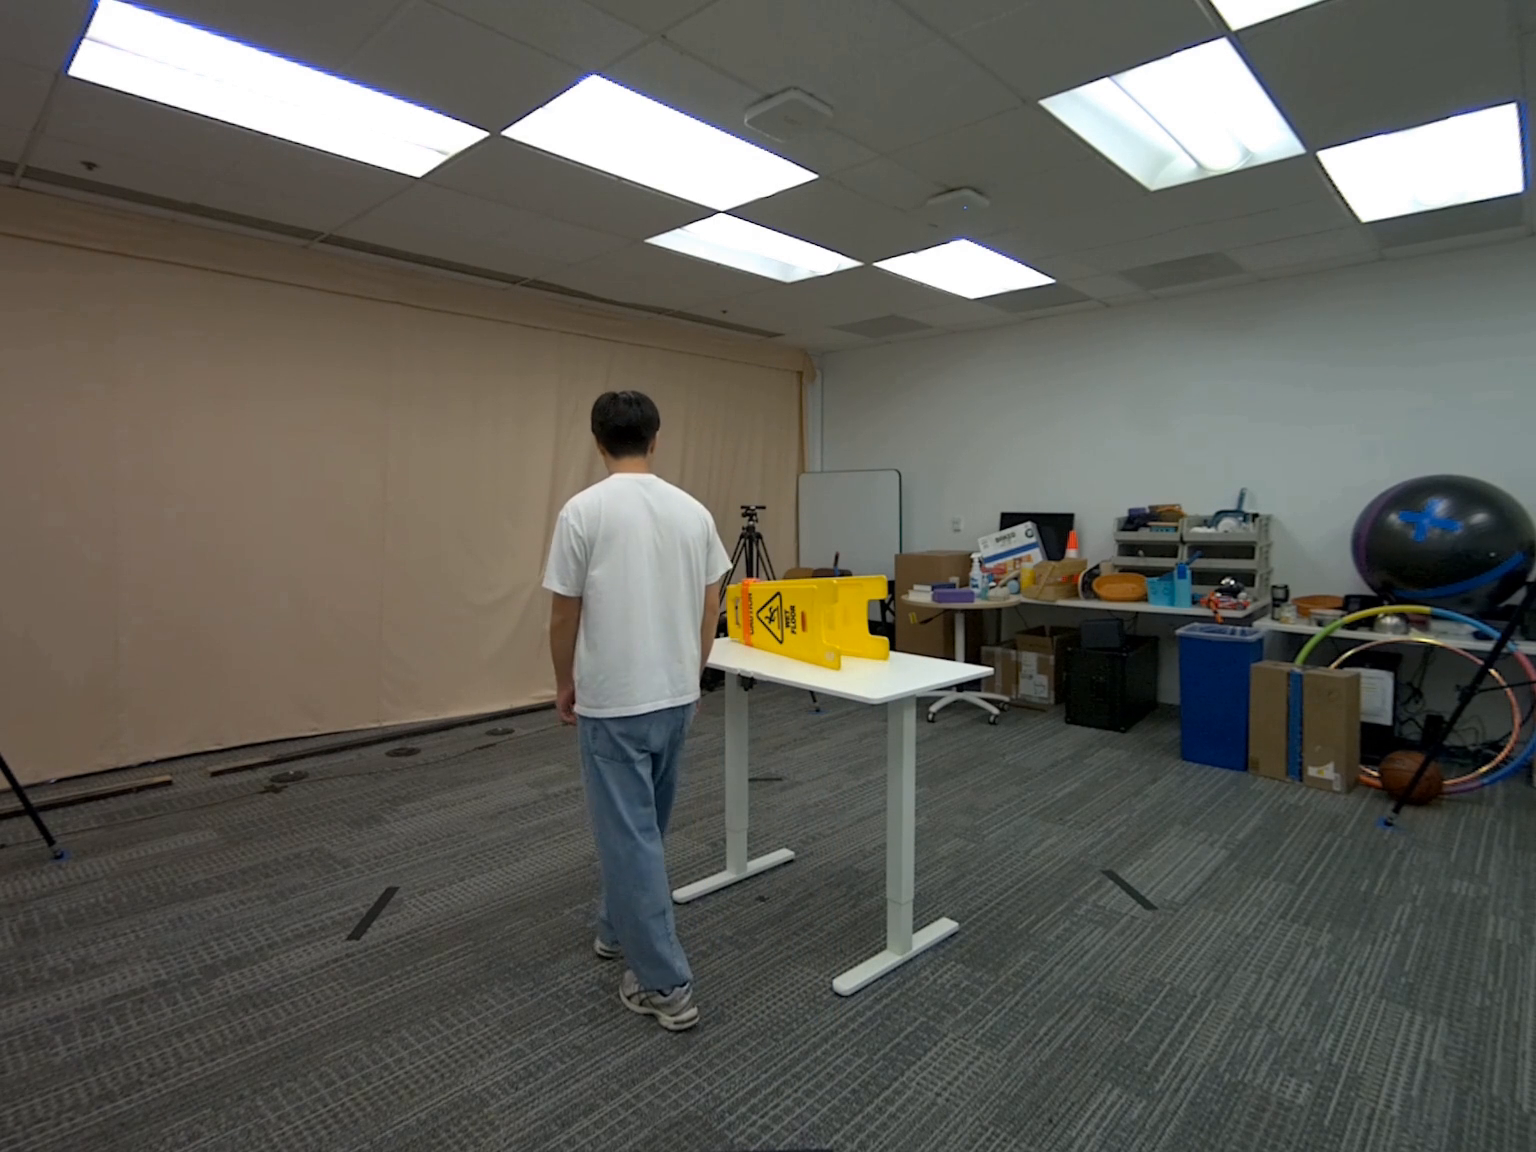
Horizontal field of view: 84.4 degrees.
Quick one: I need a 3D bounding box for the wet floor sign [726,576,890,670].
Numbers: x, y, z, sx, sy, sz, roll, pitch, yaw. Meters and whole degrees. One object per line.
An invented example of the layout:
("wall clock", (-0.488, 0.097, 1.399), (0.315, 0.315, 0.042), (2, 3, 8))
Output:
("wet floor sign", (0.077, 0.141, 2.912), (0.281, 0.282, 0.667), (-4, 4, -43))
